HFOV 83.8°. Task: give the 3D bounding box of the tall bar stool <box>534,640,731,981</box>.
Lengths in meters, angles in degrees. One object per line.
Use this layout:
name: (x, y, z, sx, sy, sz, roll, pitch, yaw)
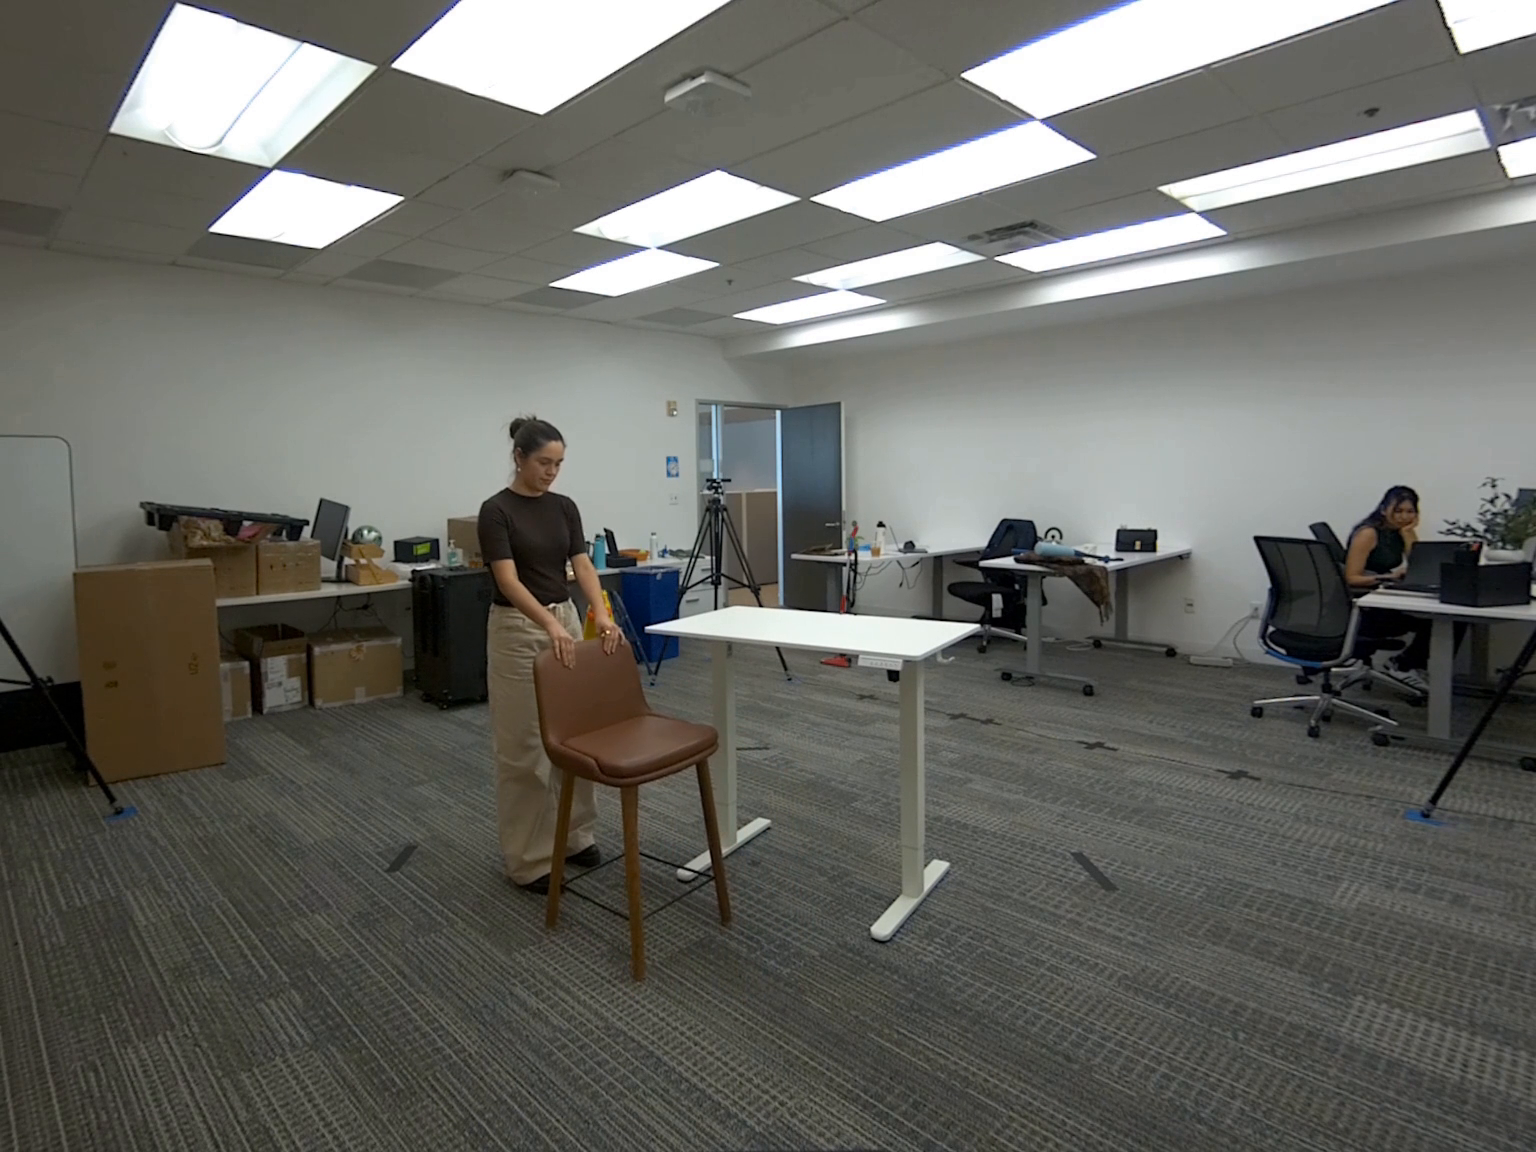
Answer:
tall bar stool: (-0.434, 0.668, 2.659, 0.481, 0.888, 0.445, -1, 3, 40)
